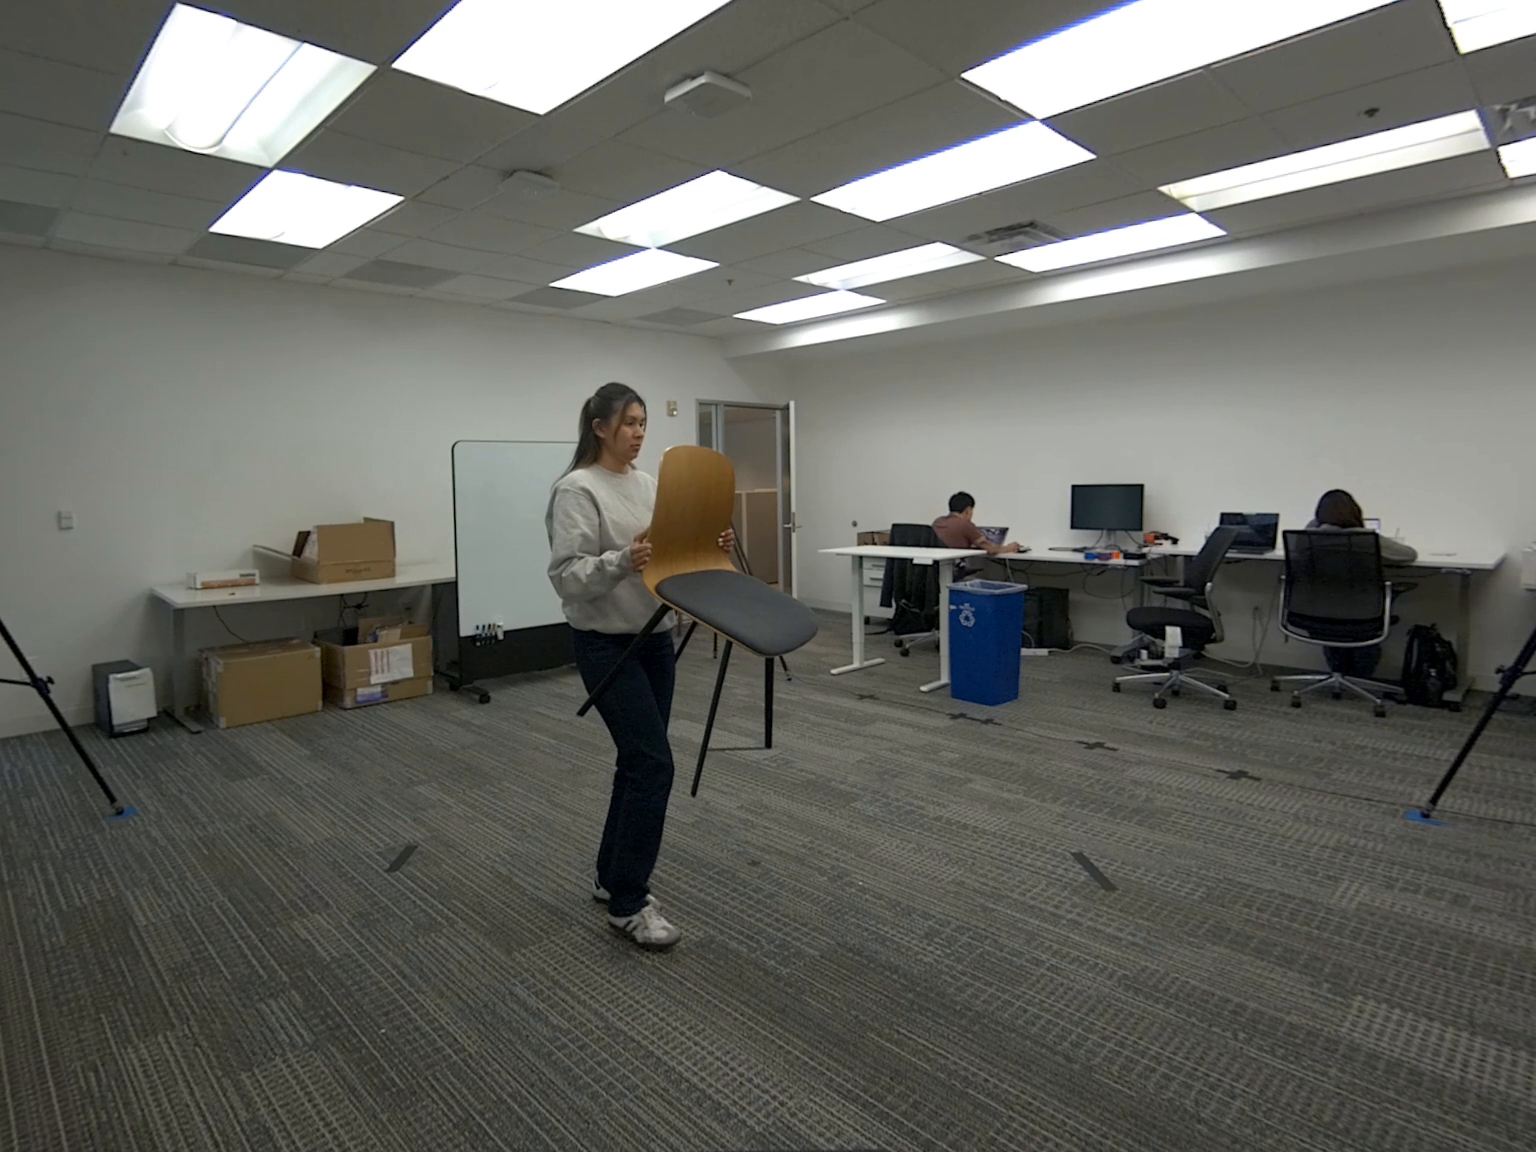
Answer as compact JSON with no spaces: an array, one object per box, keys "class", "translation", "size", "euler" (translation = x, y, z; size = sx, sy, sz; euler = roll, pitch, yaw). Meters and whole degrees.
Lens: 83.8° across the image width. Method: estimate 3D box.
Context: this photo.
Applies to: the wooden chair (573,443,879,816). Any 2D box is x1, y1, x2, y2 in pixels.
[{"class":"wooden chair","translation":[-0.130,0.113,2.517],"size":[0.540,0.870,0.467],"euler":[23,15,27]}]
